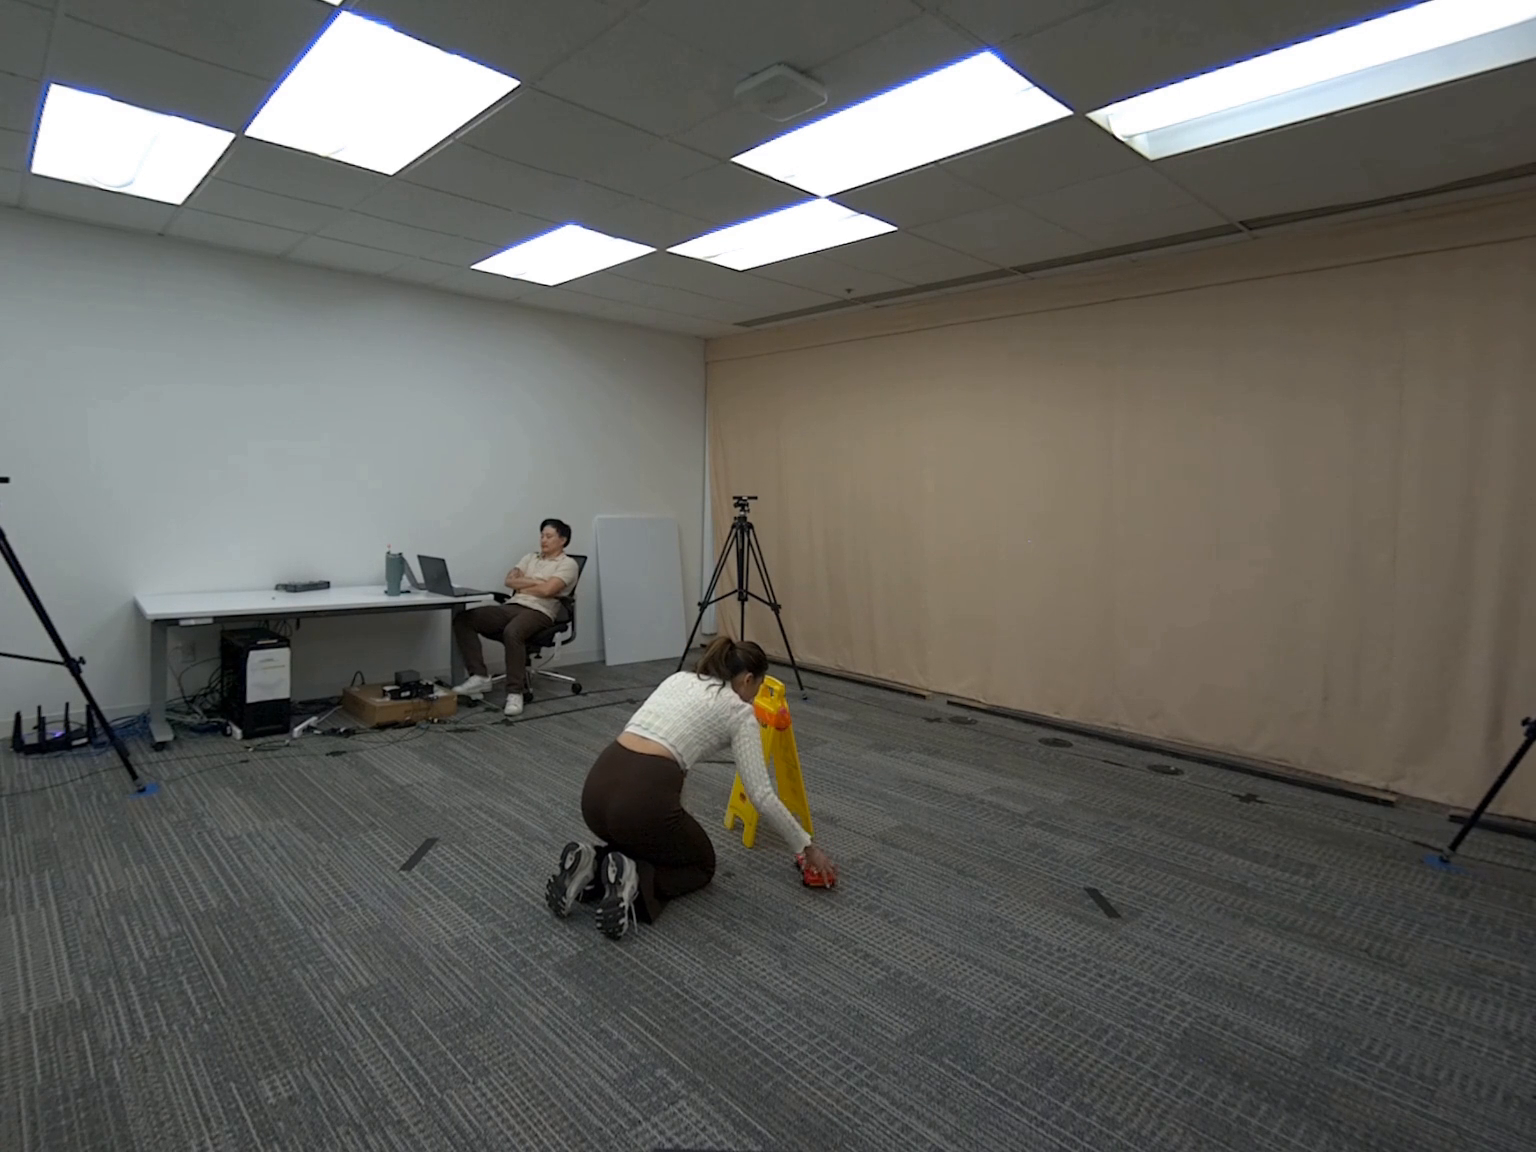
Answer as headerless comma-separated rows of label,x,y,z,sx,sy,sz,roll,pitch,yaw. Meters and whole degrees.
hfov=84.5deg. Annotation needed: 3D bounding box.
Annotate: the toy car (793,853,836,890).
toy car,0.161,1.083,3.098,0.129,0.083,0.255,2,-4,-9
